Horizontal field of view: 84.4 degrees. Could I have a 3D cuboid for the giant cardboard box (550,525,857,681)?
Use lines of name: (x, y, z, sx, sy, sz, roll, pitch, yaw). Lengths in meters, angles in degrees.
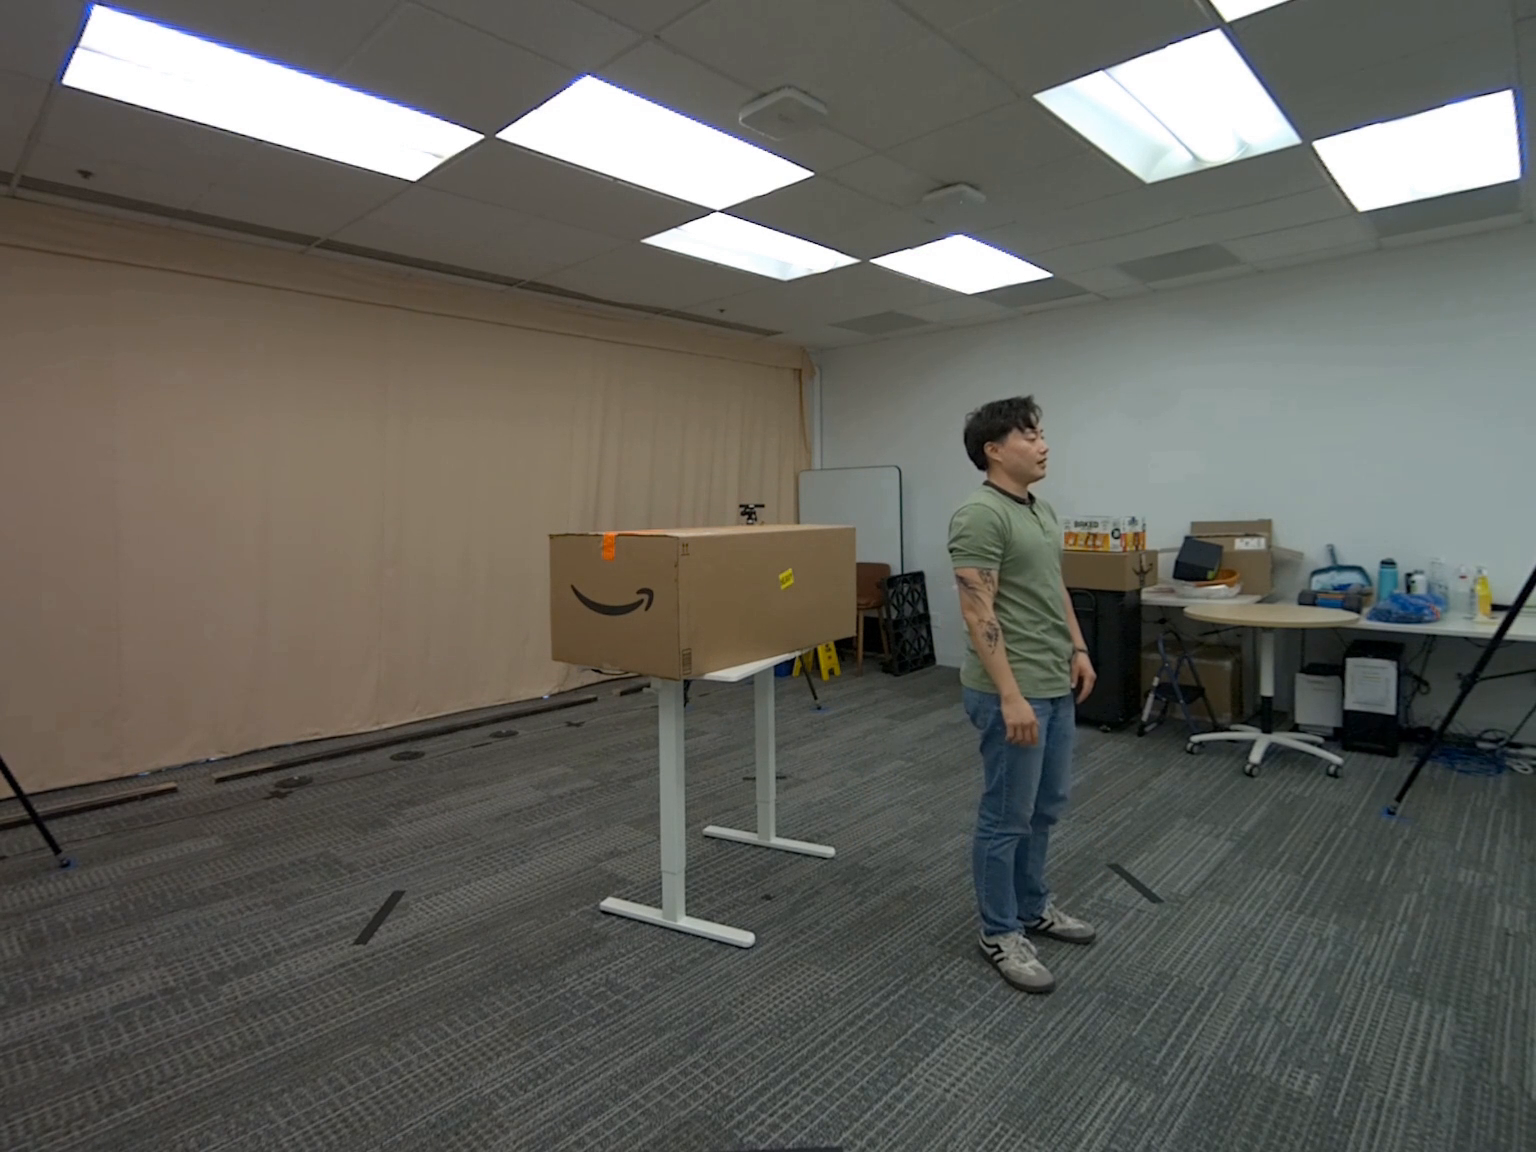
giant cardboard box: (-0.191, 0.047, 3.012, 0.596, 0.425, 0.996, 3, 6, 37)
